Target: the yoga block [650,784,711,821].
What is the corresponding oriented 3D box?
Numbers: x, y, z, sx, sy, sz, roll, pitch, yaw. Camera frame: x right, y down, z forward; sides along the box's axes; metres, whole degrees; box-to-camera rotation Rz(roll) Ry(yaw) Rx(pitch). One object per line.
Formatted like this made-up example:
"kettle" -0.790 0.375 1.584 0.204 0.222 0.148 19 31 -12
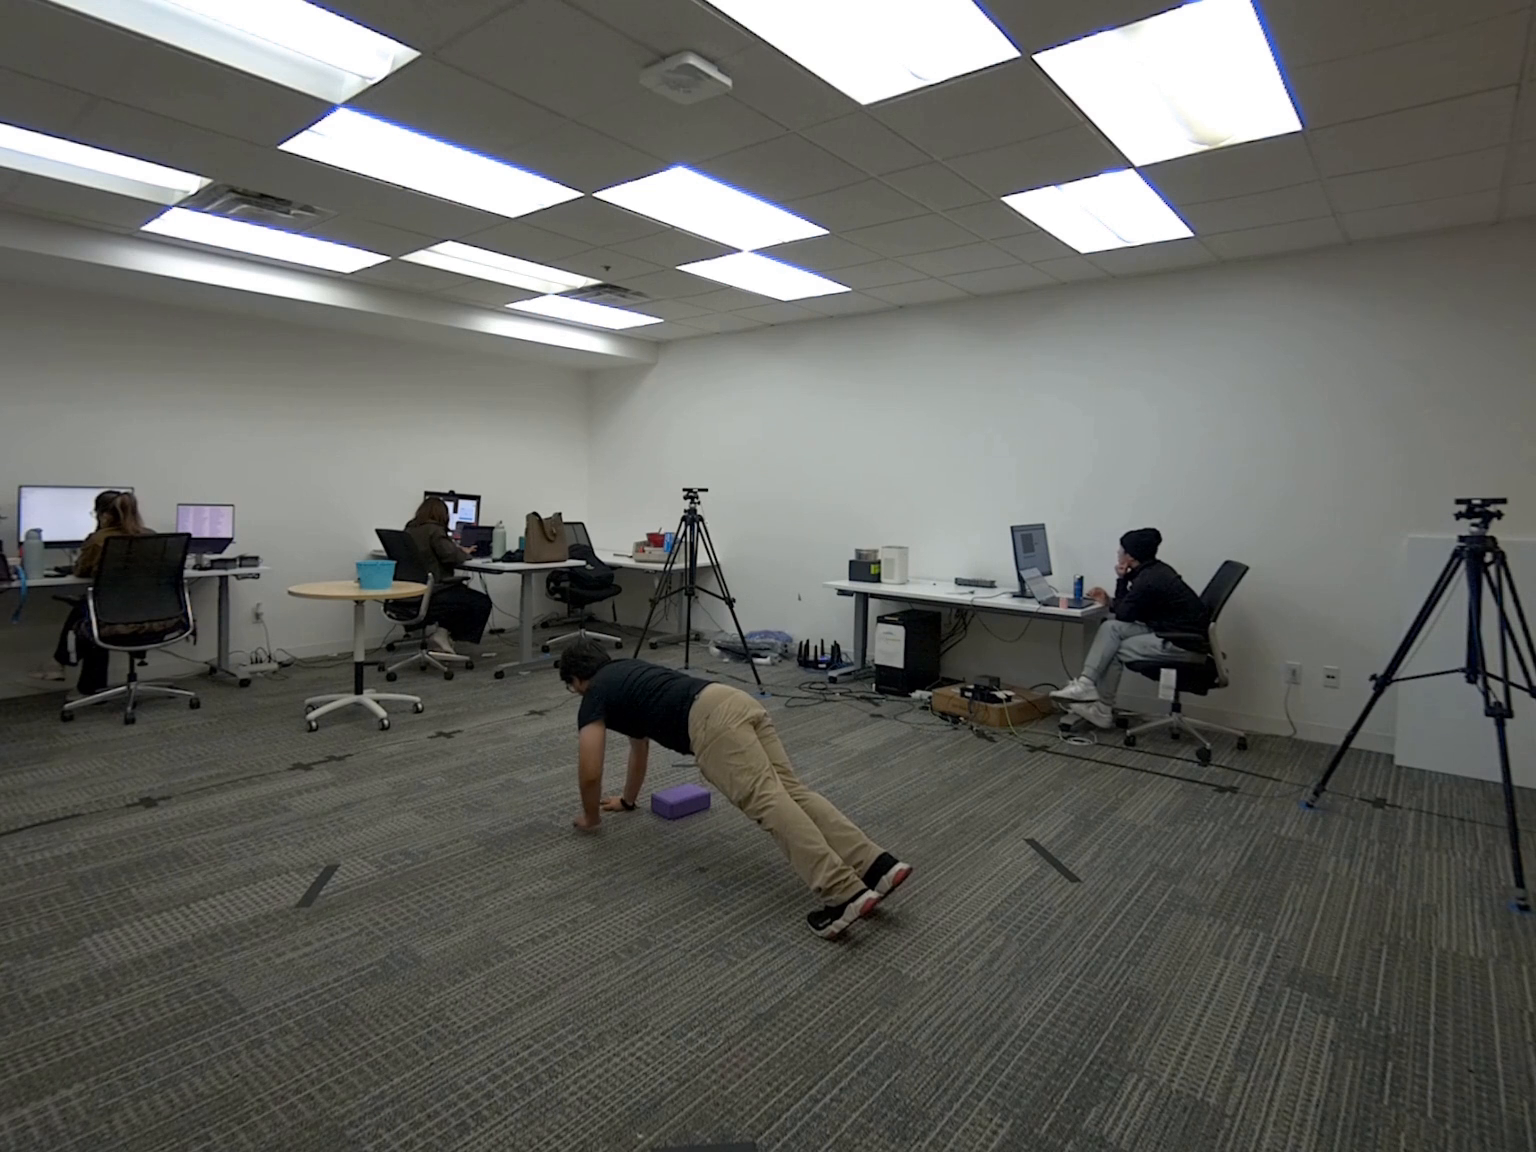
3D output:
"yoga block" -0.390 0.968 3.686 0.222 0.076 0.154 -5 7 -44
